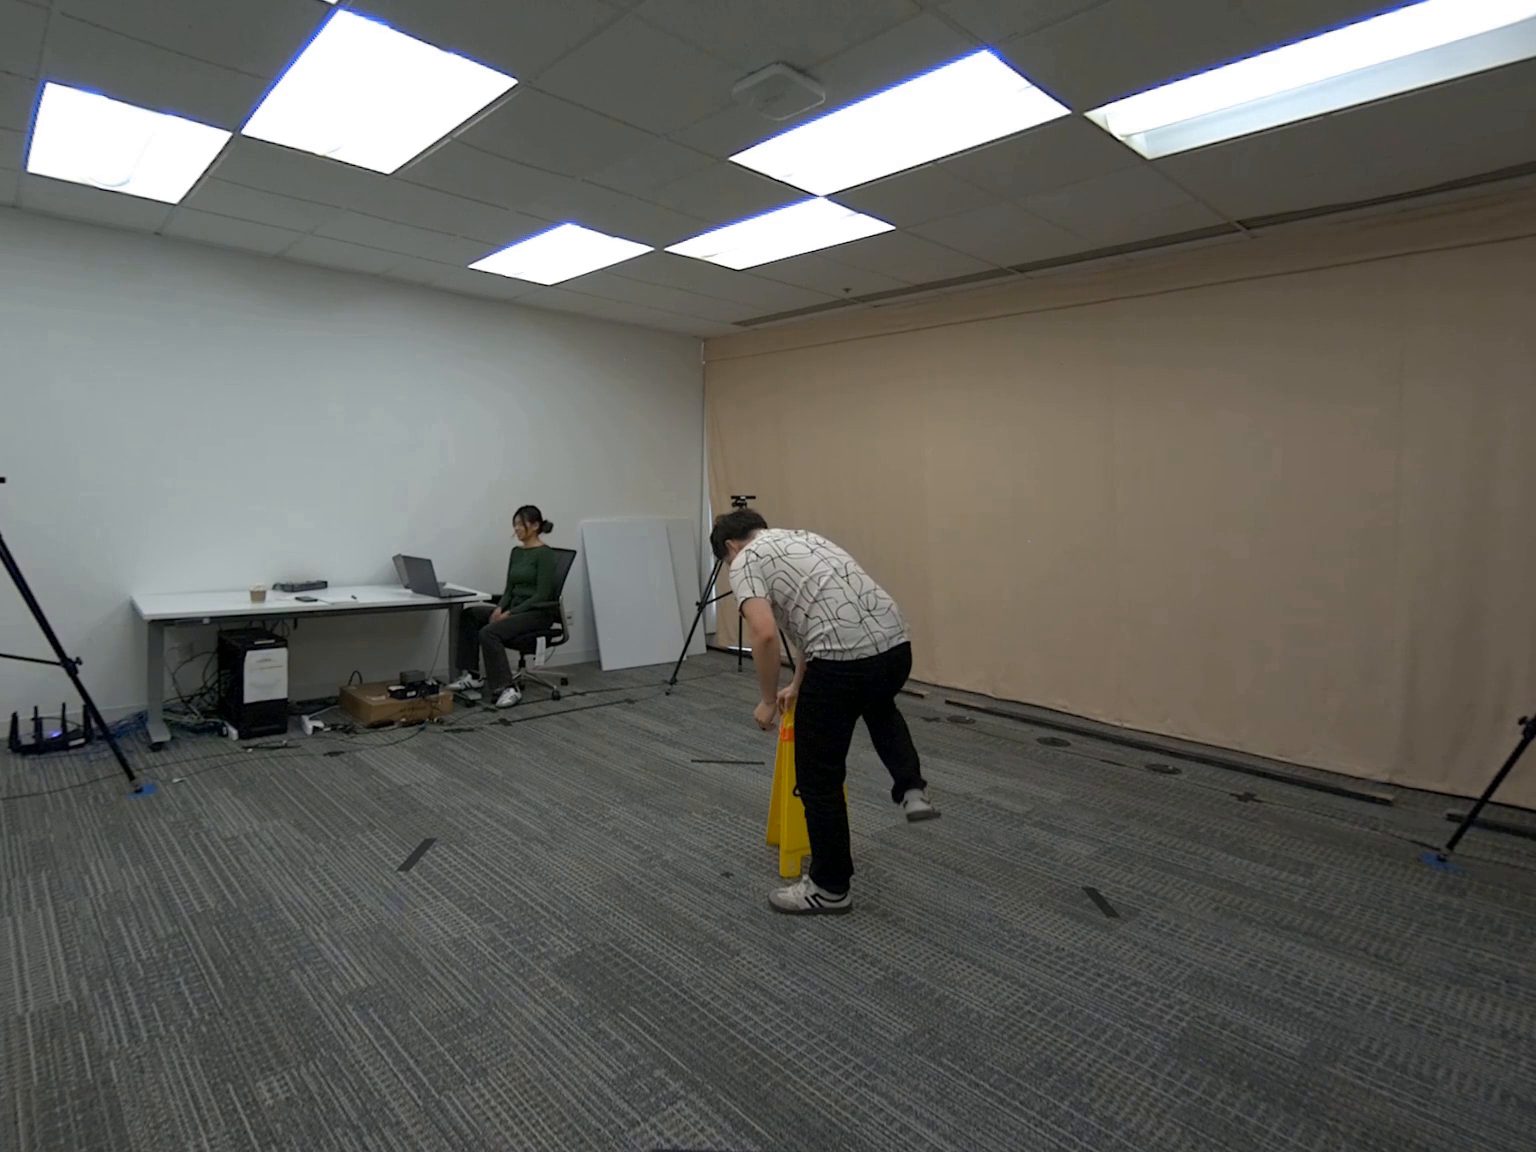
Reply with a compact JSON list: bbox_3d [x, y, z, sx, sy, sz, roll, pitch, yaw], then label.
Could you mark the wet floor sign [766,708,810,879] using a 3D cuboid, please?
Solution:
[{"bbox_3d":[0.154,0.771,3.243,0.280,0.645,0.292,2,3,-9],"label":"wet floor sign"}]
